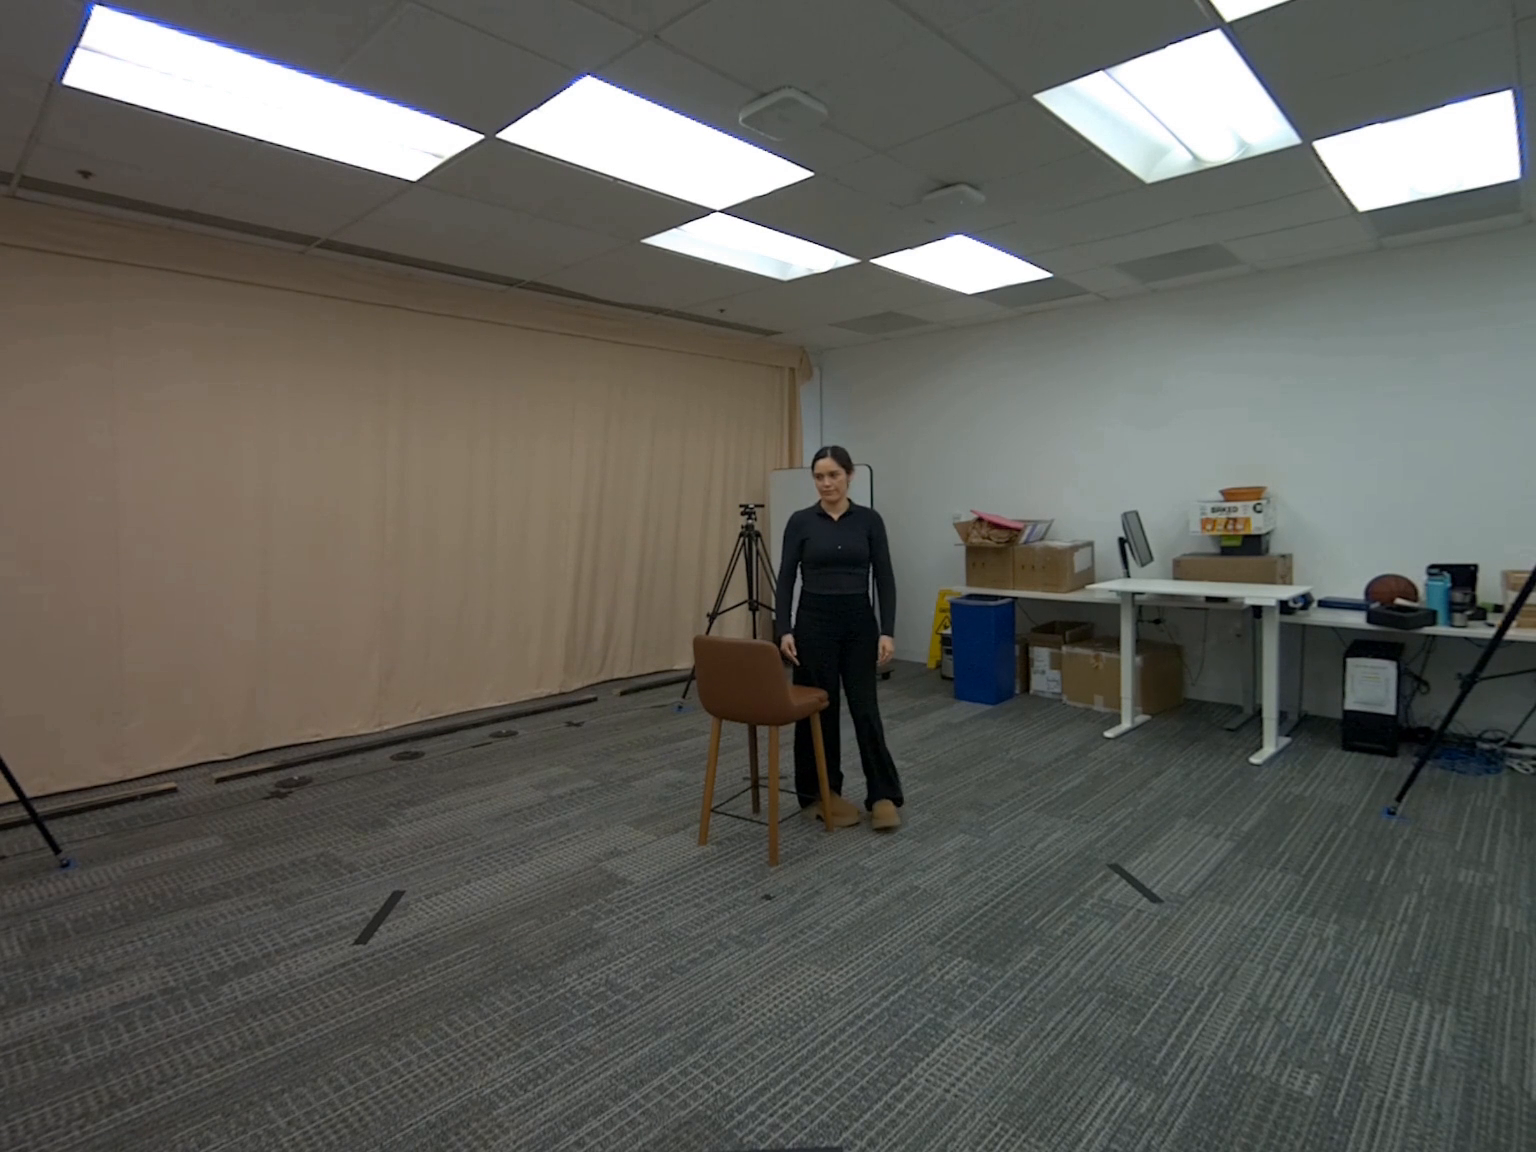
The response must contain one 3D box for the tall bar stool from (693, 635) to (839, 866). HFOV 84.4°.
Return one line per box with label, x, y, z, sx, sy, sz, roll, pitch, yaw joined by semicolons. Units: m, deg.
tall bar stool;-0.020;0.660;3.503;0.471;0.887;0.454;1;5;35
